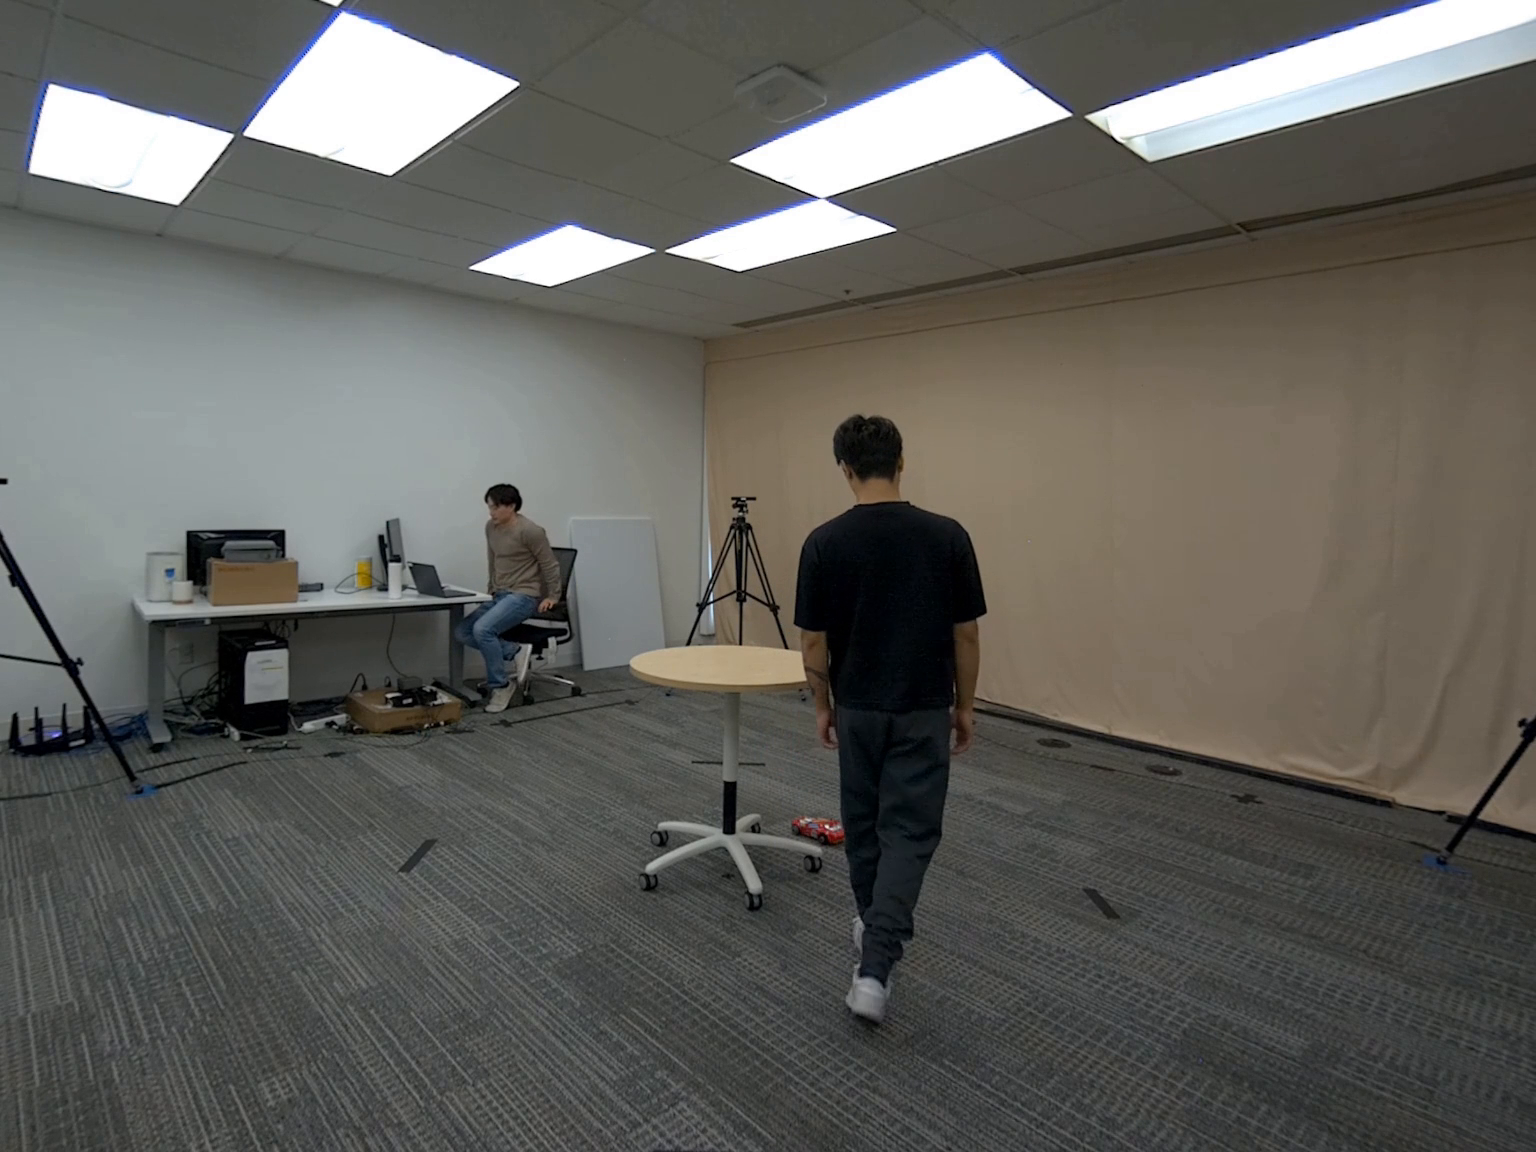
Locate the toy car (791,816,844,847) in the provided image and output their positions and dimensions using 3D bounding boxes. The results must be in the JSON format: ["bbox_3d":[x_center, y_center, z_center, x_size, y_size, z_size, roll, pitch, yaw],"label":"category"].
[{"bbox_3d":[0.216,1.051,3.477,0.259,0.083,0.127,-9,-5,43],"label":"toy car"}]
